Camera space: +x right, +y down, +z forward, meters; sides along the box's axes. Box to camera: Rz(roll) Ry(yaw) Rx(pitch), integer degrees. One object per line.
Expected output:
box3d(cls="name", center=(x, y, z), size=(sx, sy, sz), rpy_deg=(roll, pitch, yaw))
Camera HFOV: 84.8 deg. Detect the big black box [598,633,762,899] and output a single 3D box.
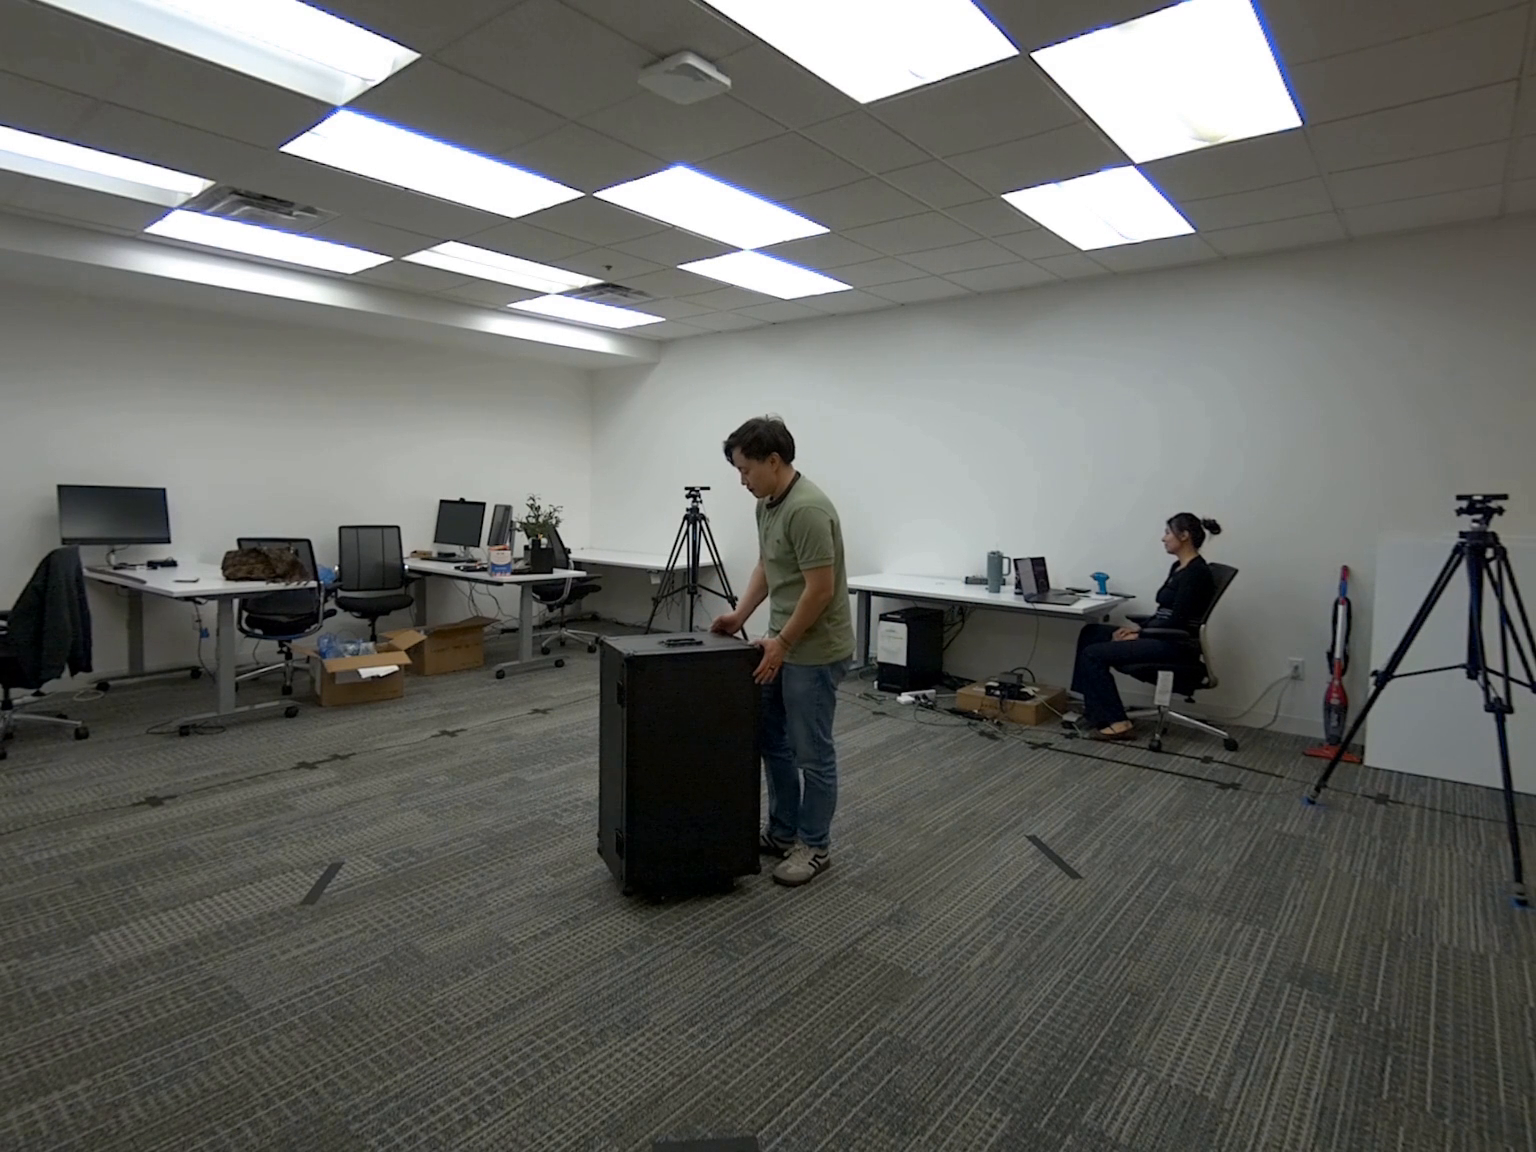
box3d(cls="big black box", center=(-0.338, 0.652, 2.971), size=(0.510, 0.860, 0.406), rpy_deg=(0, 2, -23))
